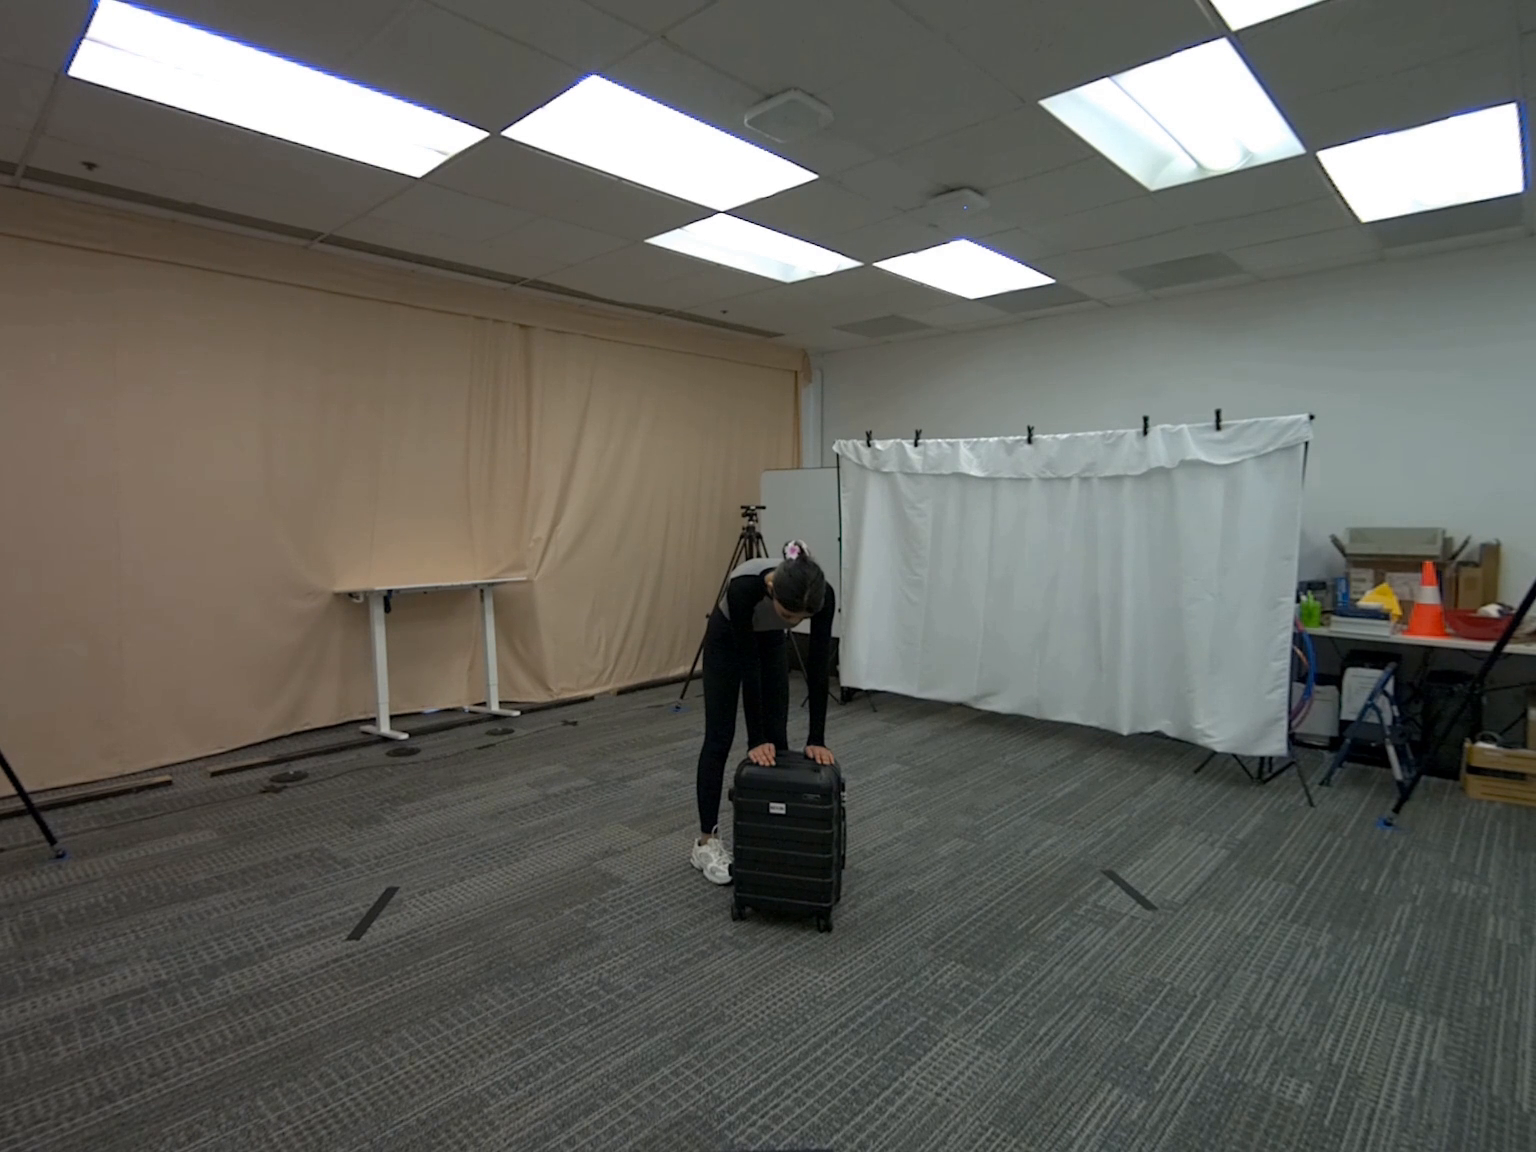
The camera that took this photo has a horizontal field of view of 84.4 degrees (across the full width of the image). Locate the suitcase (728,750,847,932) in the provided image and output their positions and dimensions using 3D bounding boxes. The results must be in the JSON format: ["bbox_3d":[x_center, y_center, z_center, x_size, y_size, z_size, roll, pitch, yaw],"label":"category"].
[{"bbox_3d":[0.075,0.879,2.867,0.382,0.547,0.245,1,5,16],"label":"suitcase"}]
